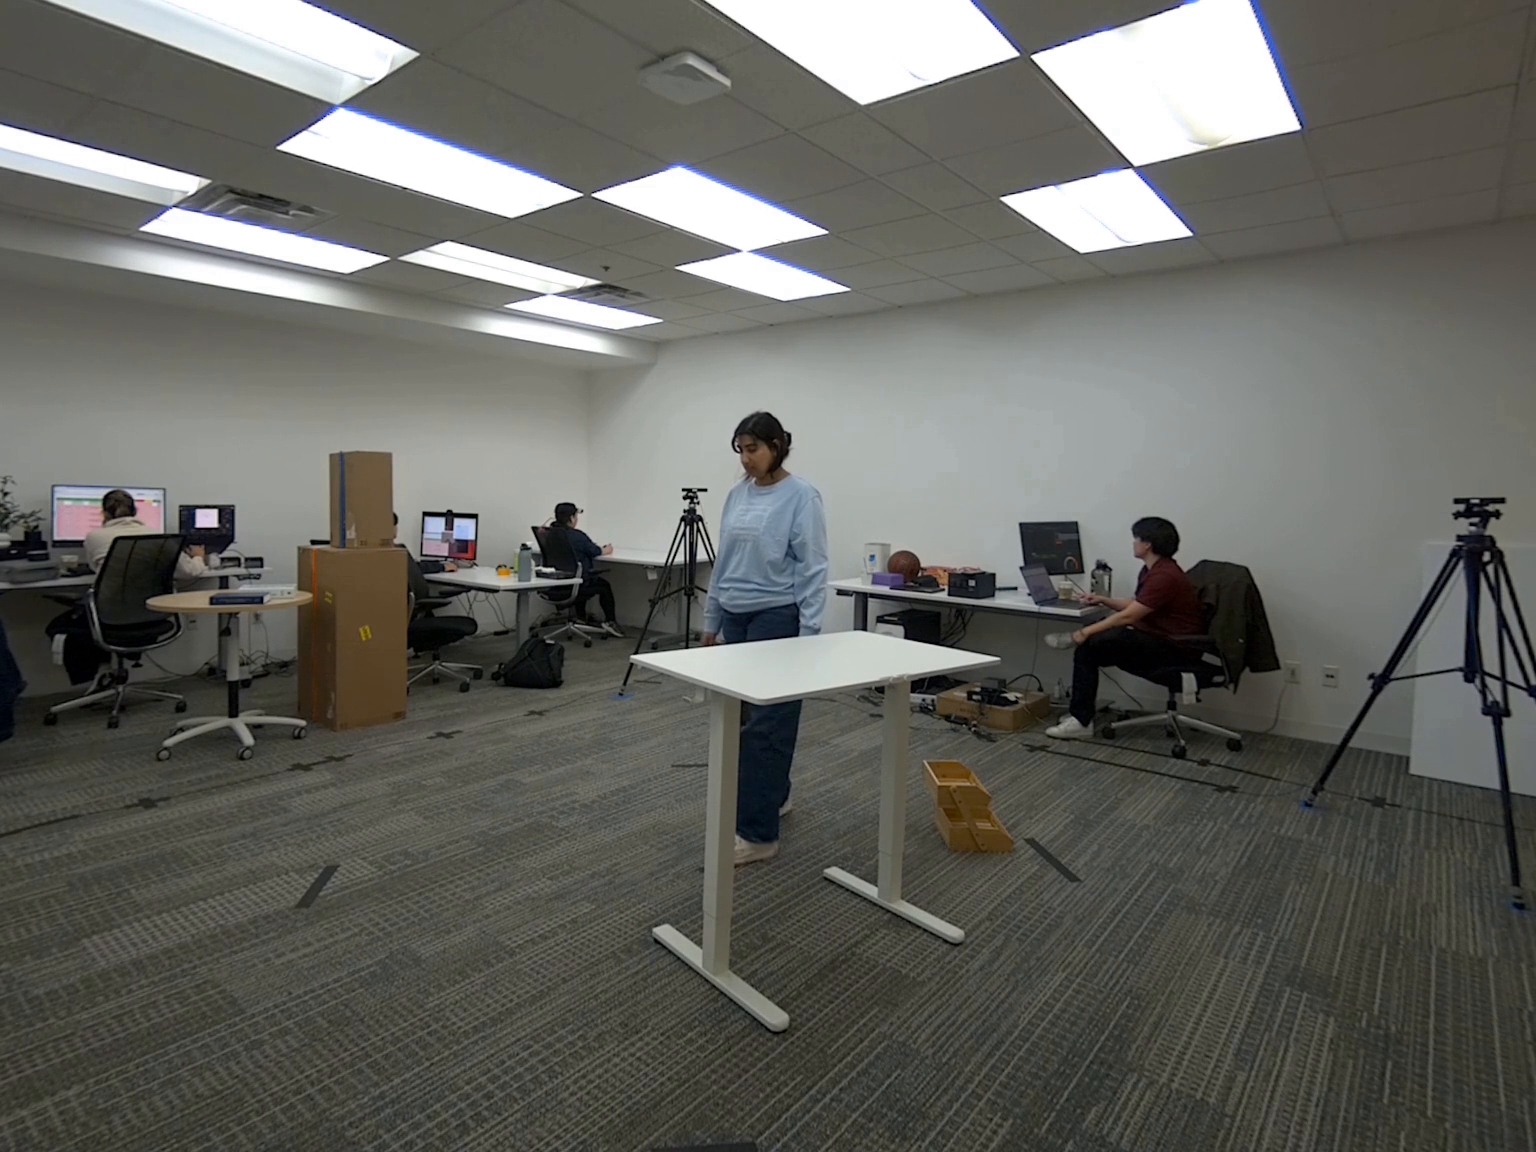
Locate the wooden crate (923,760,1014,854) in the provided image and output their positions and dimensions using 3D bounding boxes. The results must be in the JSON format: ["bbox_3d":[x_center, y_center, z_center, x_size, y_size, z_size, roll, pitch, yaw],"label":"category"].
[{"bbox_3d":[0.808,0.926,3.467,0.302,0.272,0.325,0,5,0],"label":"wooden crate"}]
